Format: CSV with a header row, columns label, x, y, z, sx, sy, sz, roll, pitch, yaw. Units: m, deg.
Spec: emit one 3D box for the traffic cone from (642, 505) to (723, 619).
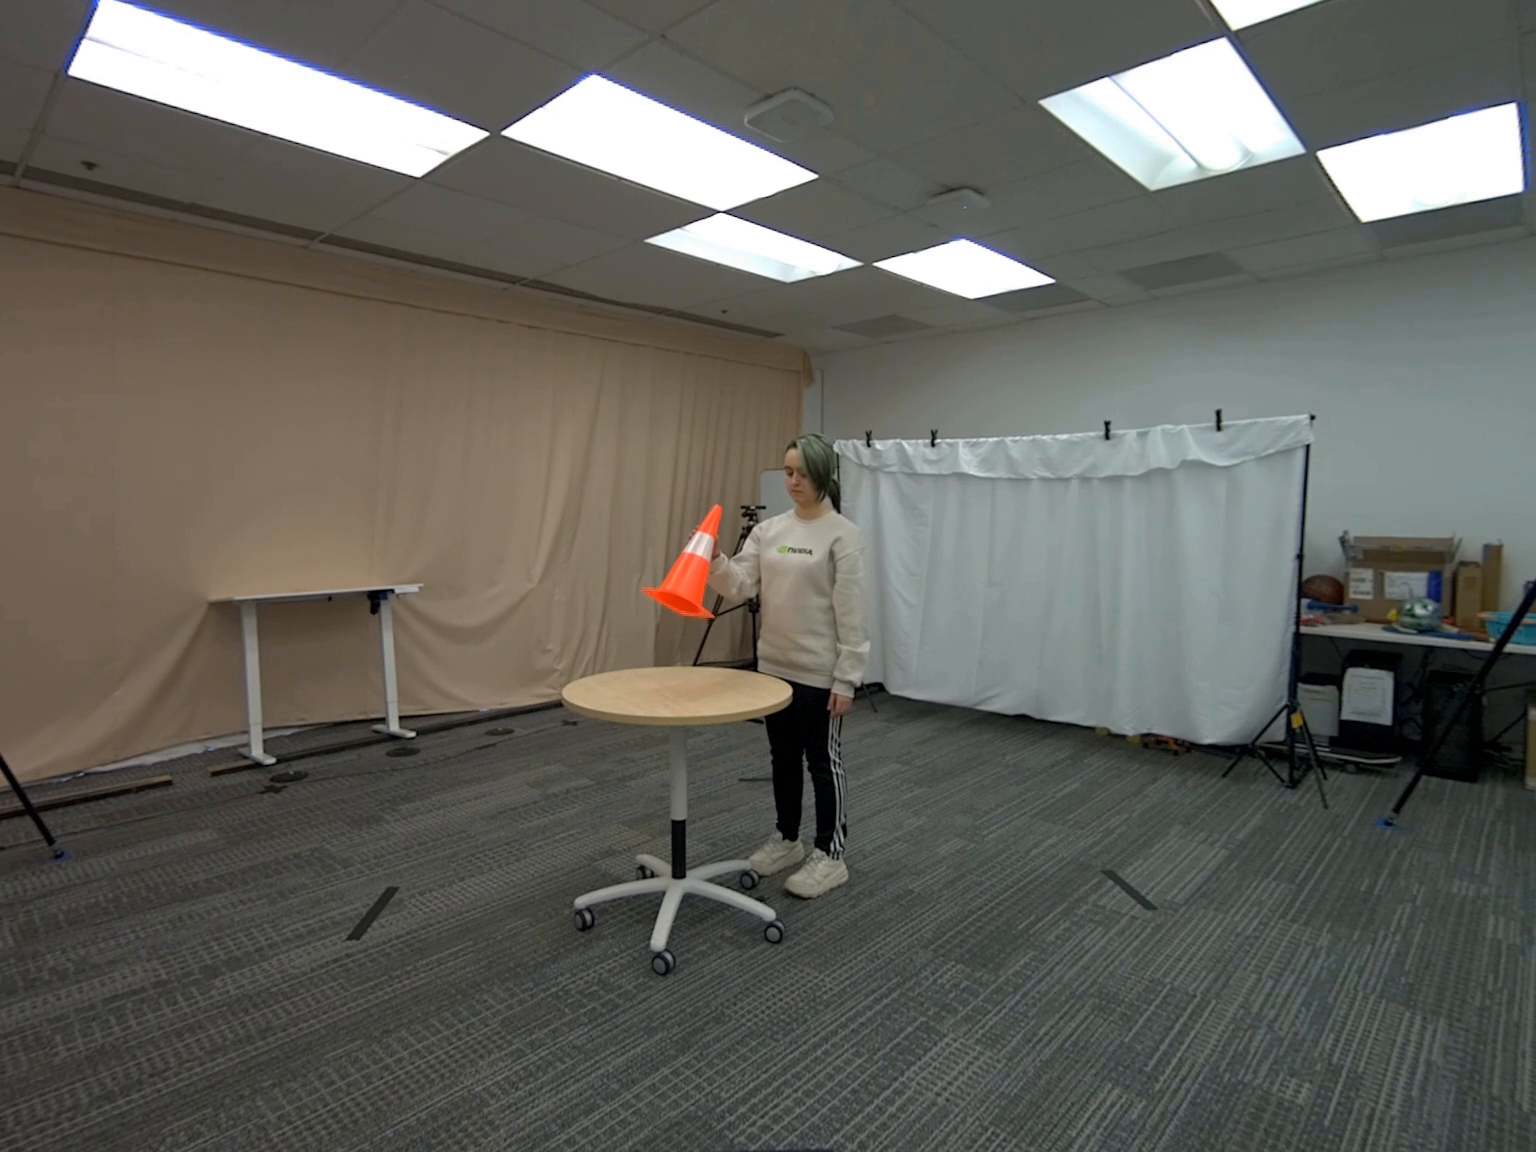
label,x,y,z,sx,sy,sz,roll,pitch,yaw
traffic cone,-0.235,-0.071,2.887,0.212,0.385,0.196,2,-28,43
